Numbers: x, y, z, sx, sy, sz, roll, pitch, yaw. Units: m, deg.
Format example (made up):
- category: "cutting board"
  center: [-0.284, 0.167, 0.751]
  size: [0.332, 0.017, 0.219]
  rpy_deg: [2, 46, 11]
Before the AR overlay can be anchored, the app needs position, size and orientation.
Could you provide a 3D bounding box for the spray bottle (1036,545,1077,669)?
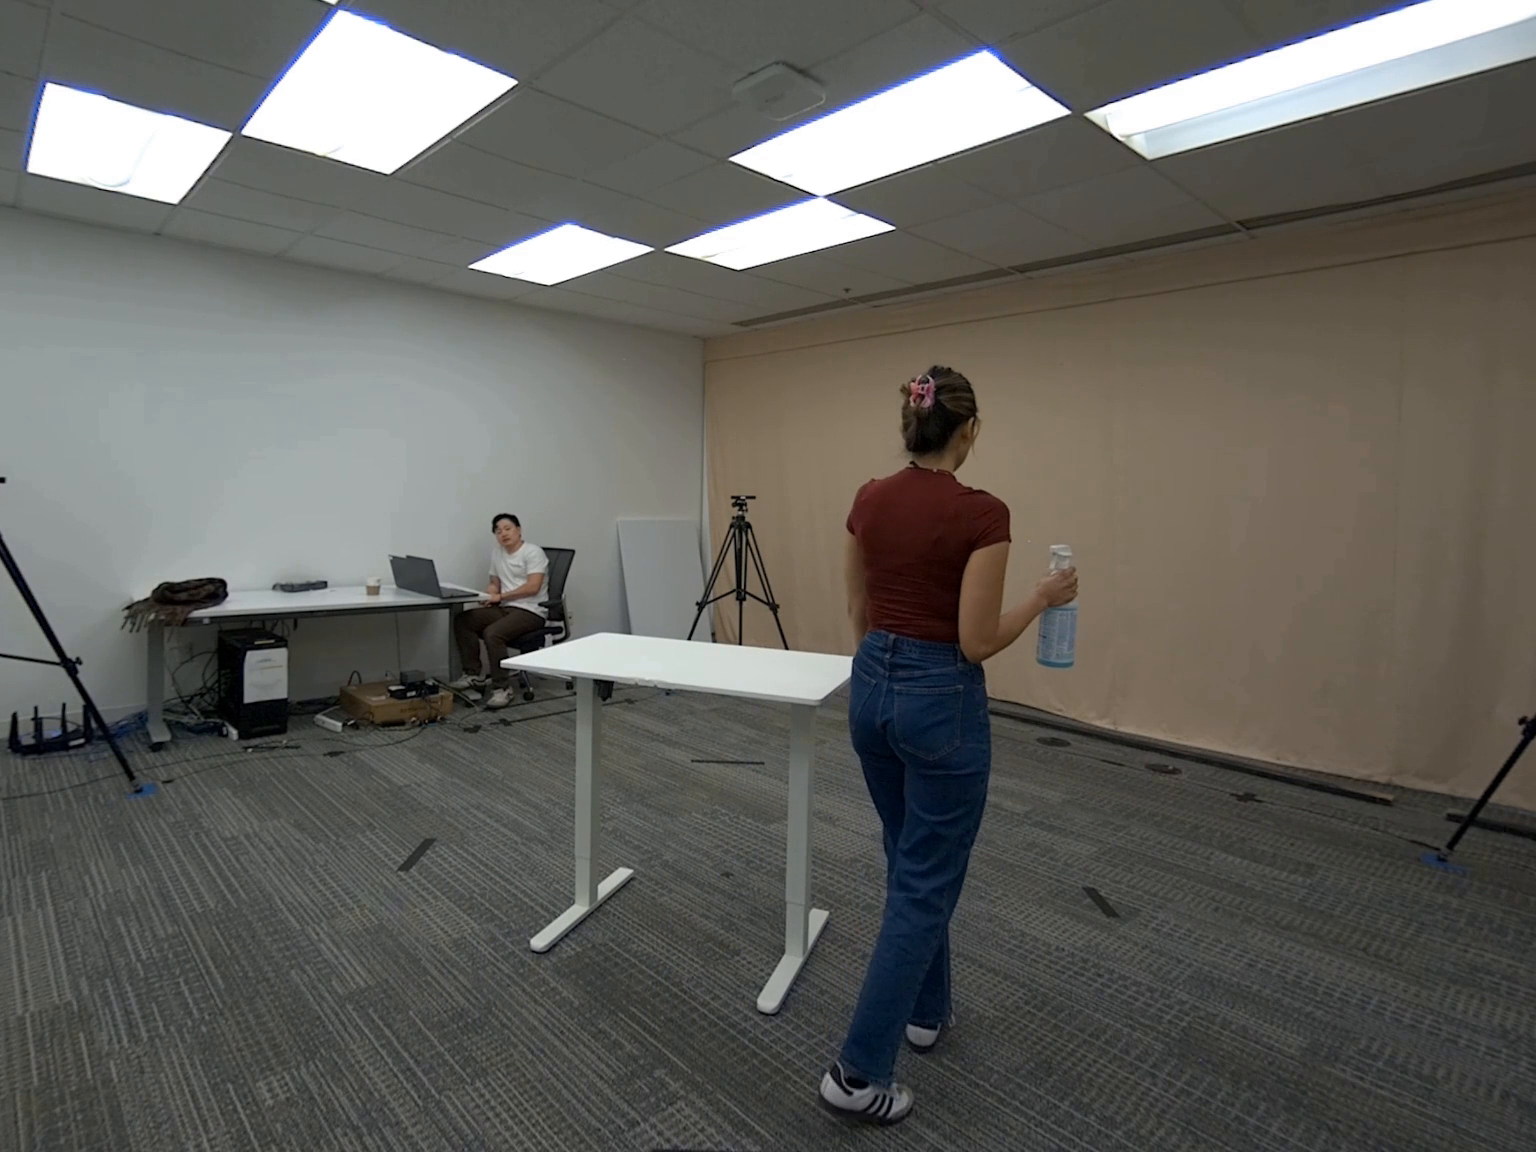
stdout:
- category: "spray bottle"
  center: [0.698, 0.071, 2.025]
  size: [0.089, 0.296, 0.088]
  rpy_deg: [-3, 7, -16]
